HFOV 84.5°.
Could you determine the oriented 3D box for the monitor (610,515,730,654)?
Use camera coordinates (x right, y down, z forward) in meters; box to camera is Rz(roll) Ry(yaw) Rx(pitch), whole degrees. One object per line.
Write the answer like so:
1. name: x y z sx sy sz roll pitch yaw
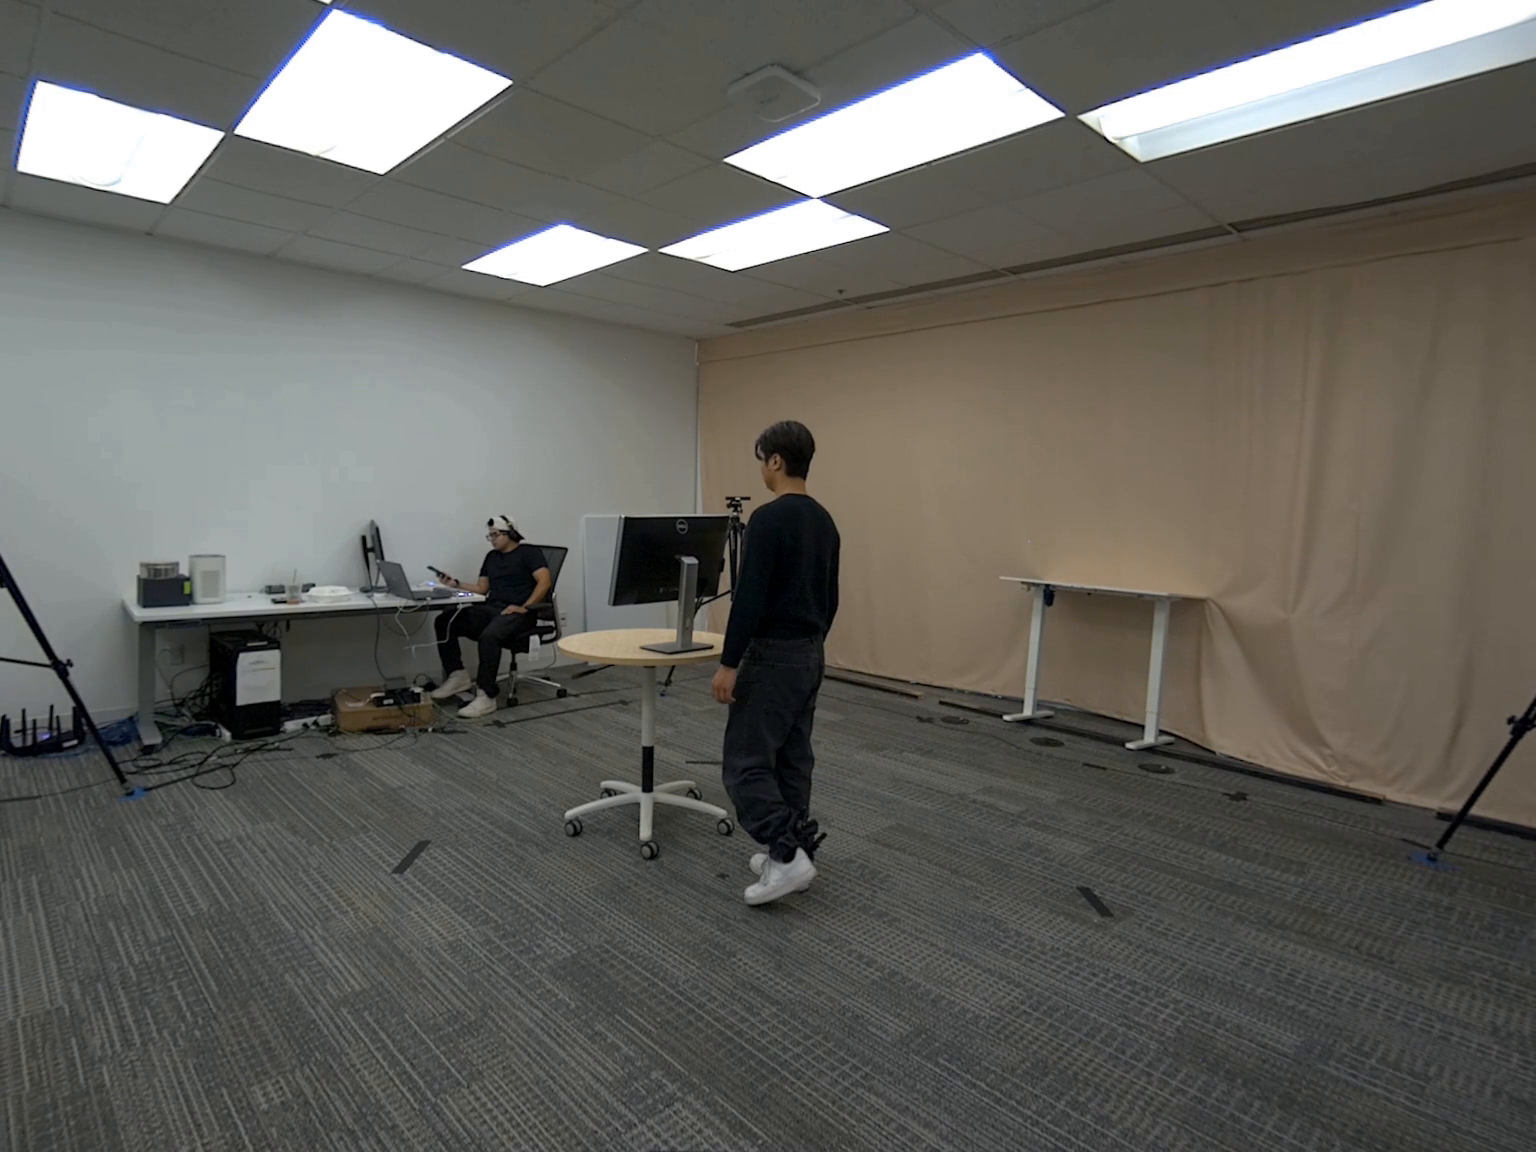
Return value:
1. monitor: -0.368 0.028 3.392 0.192 0.521 0.527 3 5 41
